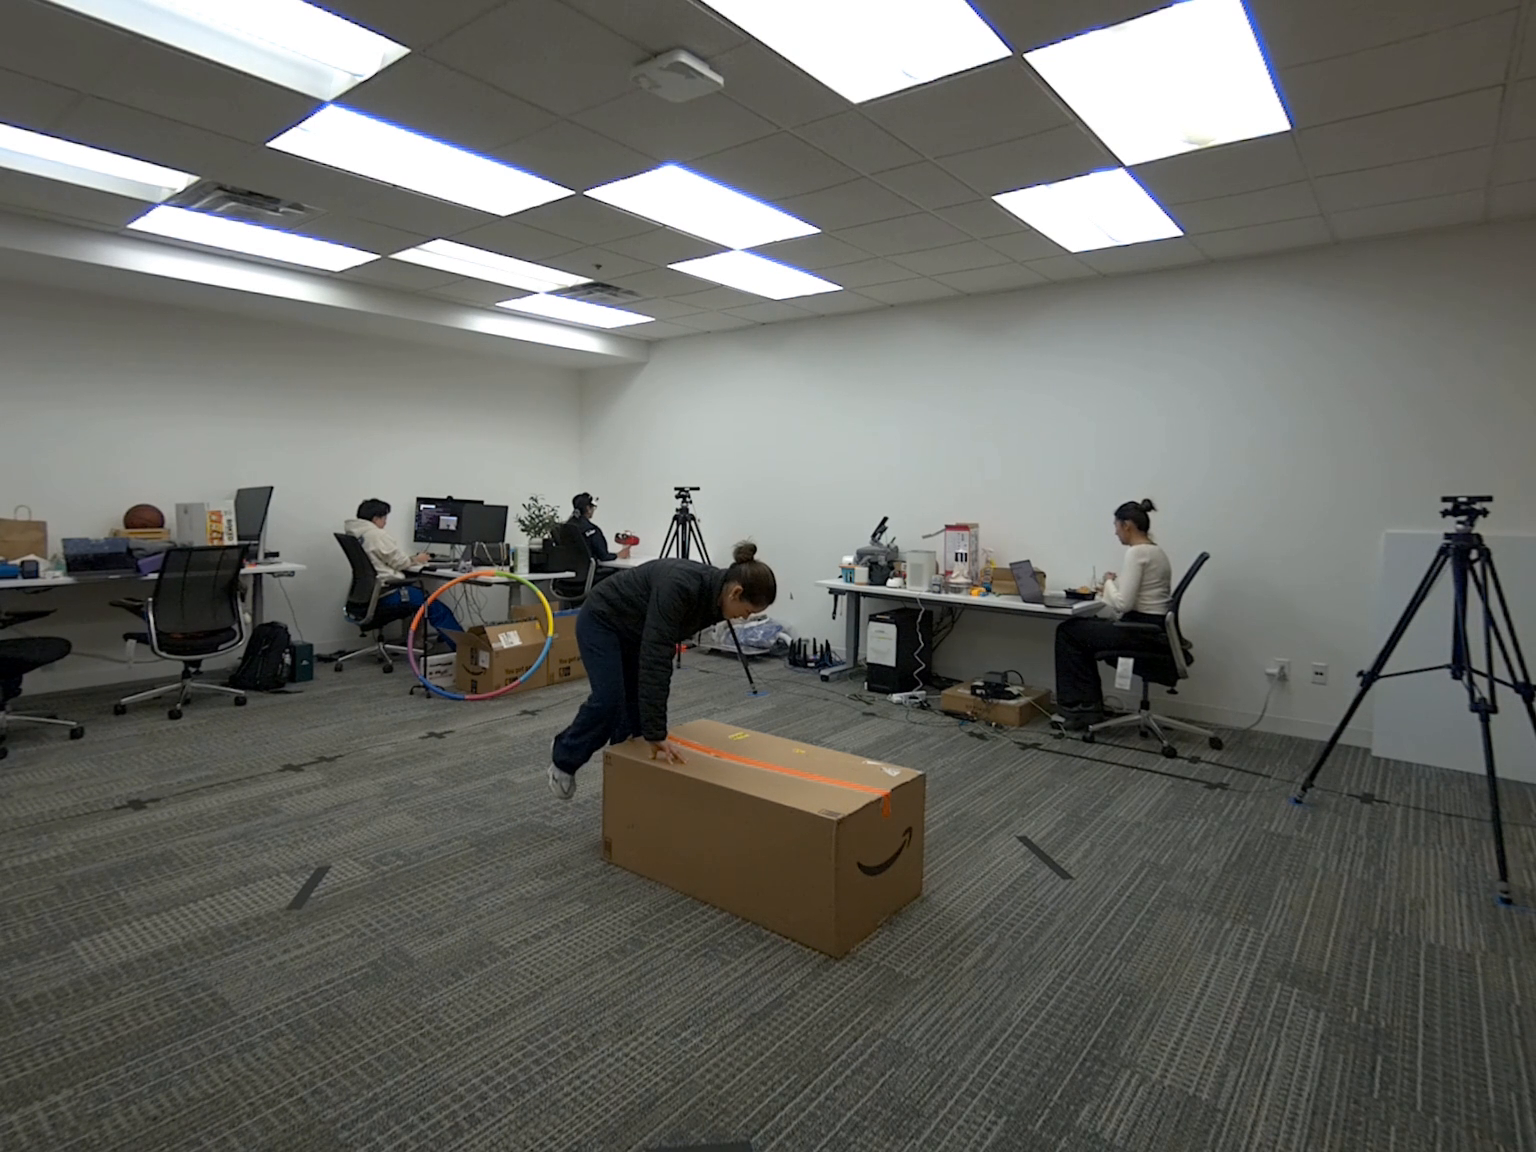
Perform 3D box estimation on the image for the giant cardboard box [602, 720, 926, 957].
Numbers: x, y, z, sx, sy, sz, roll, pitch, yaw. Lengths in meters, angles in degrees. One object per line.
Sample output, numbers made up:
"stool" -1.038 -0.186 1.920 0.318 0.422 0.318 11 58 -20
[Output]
"giant cardboard box" -0.023 0.868 3.060 1.062 0.445 0.567 6 8 38
